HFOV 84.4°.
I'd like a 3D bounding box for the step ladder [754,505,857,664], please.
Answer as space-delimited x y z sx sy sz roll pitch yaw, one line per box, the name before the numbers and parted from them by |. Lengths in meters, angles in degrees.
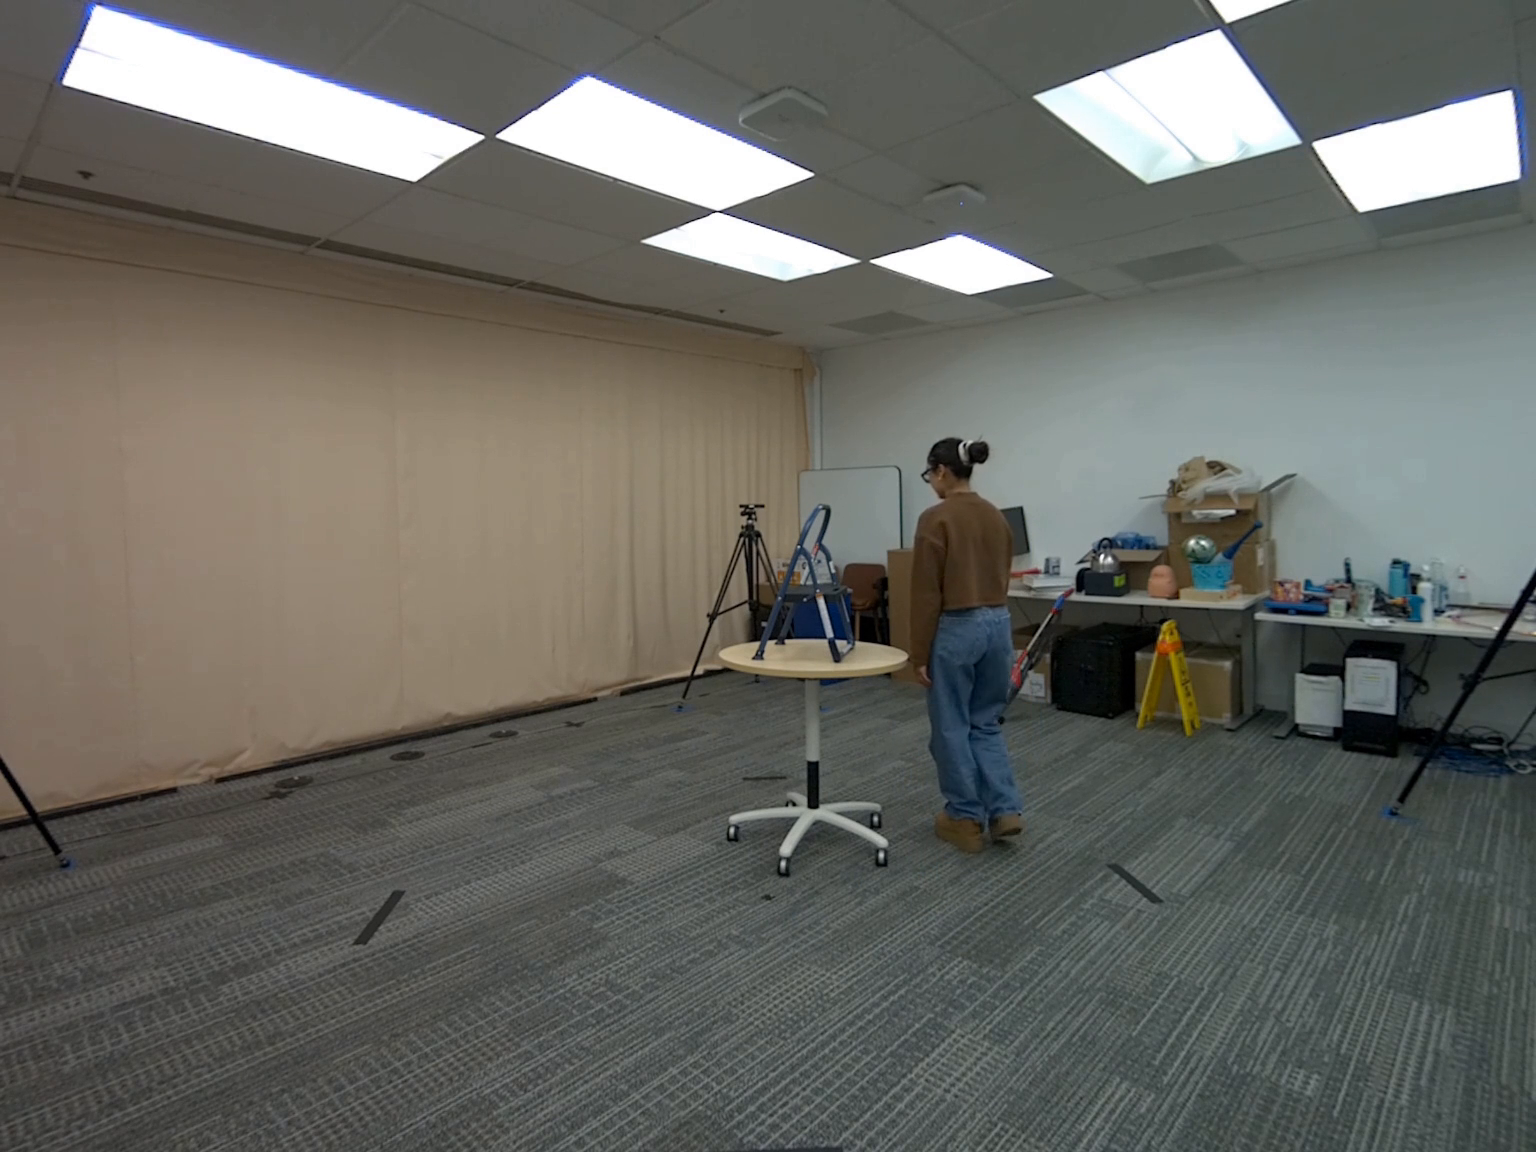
step ladder | 0.160 0.014 3.450 0.355 0.605 0.424 0 3 16
